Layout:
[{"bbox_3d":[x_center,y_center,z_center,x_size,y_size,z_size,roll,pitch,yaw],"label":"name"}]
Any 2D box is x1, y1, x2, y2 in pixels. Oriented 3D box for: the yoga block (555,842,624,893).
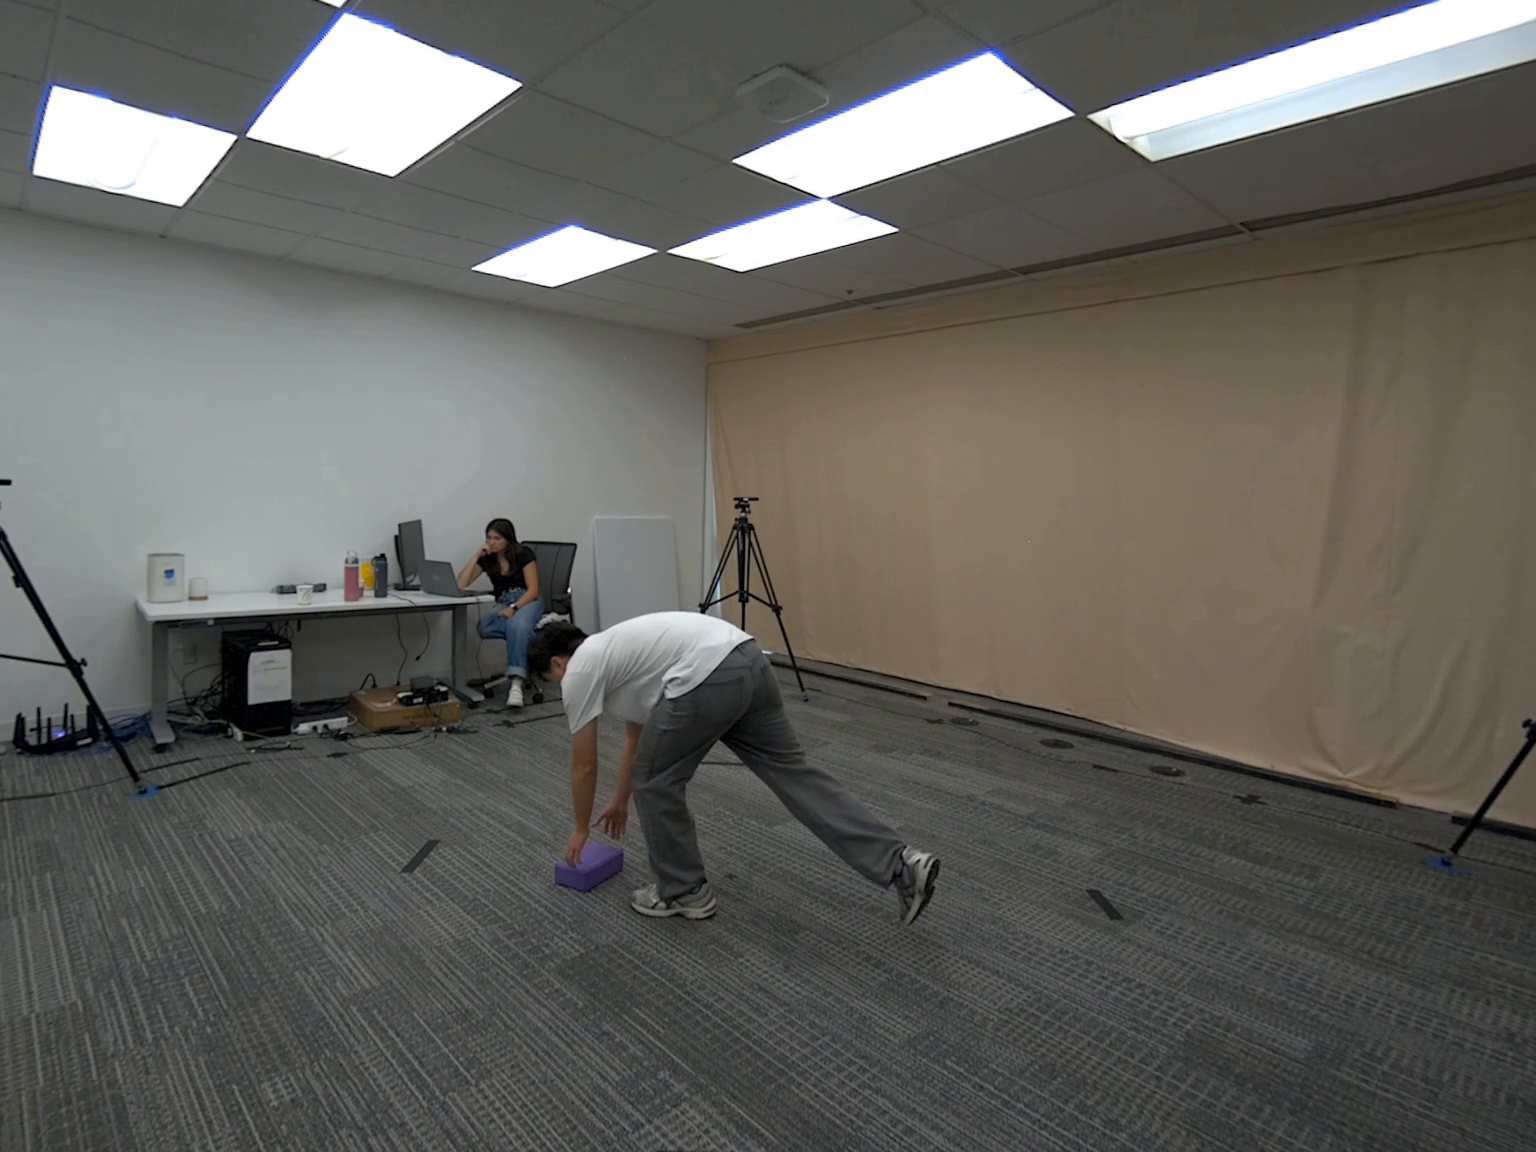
[{"bbox_3d":[-0.659,1.063,3.065,0.152,0.076,0.225,3,6,28],"label":"yoga block"}]
